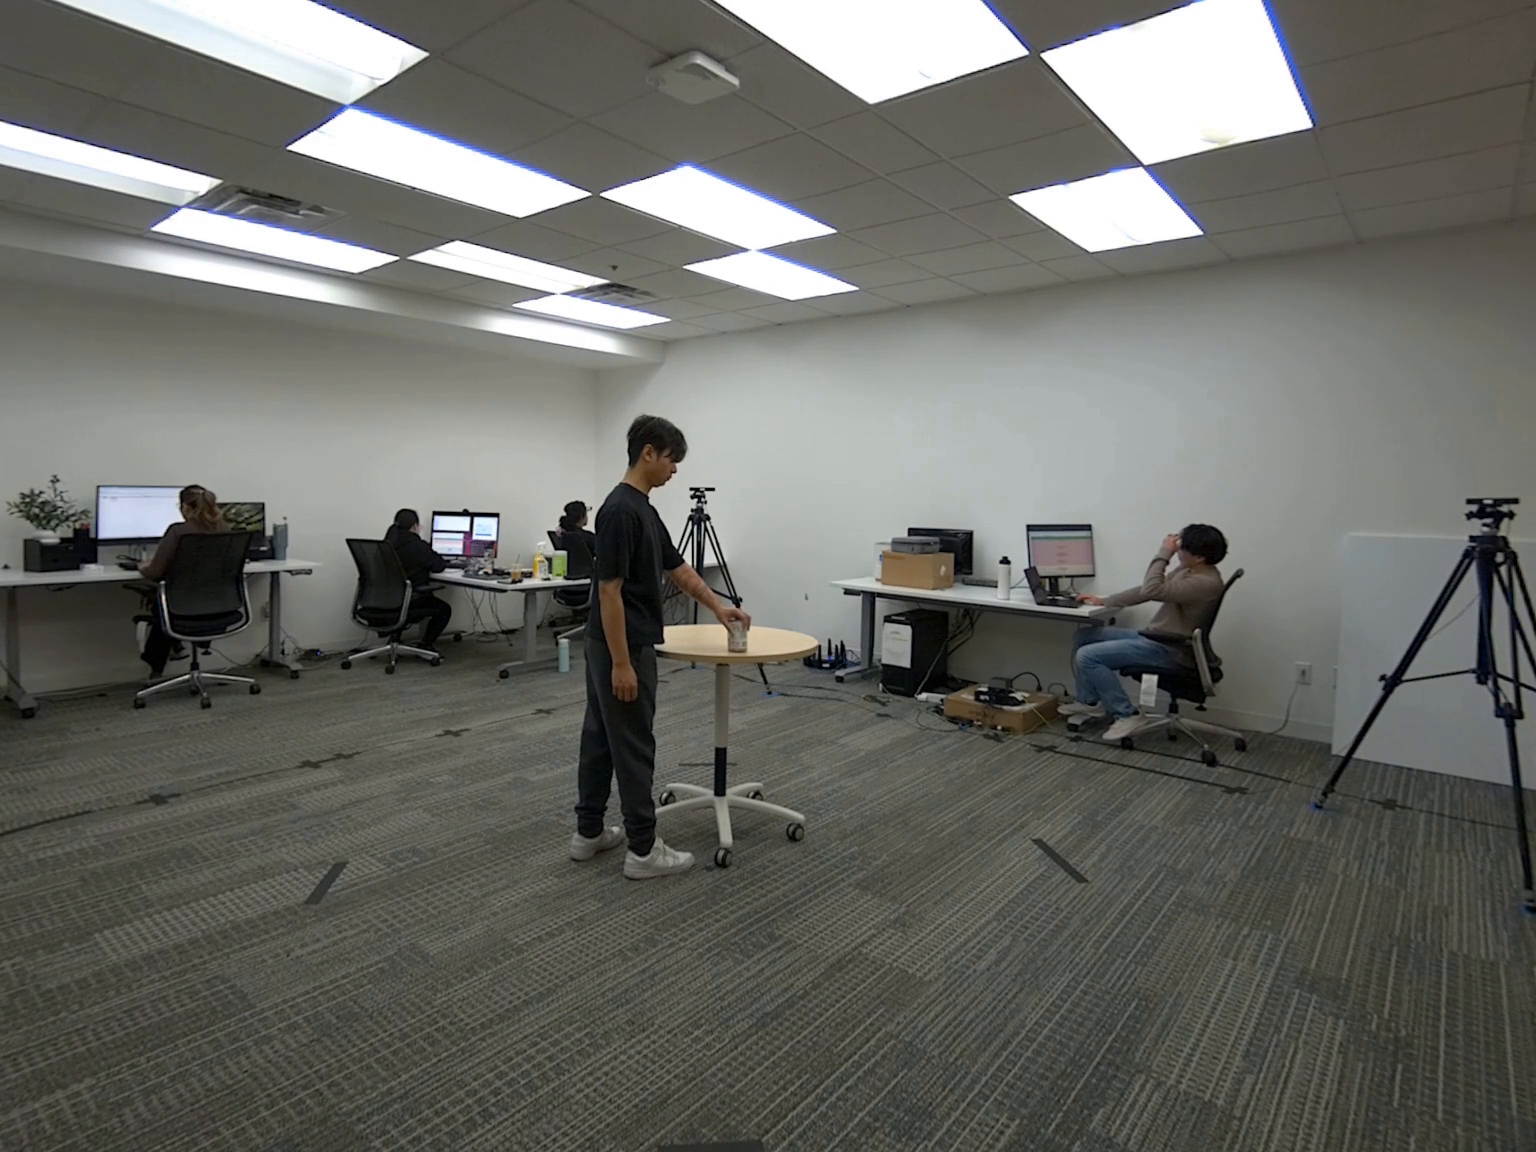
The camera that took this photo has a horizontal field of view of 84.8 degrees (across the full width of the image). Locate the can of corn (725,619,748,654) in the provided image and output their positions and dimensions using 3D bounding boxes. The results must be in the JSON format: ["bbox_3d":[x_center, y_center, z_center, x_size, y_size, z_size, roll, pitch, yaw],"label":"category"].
[{"bbox_3d":[-0.126,0.217,3.181,0.074,0.111,0.074,-1,3,-2],"label":"can of corn"}]
